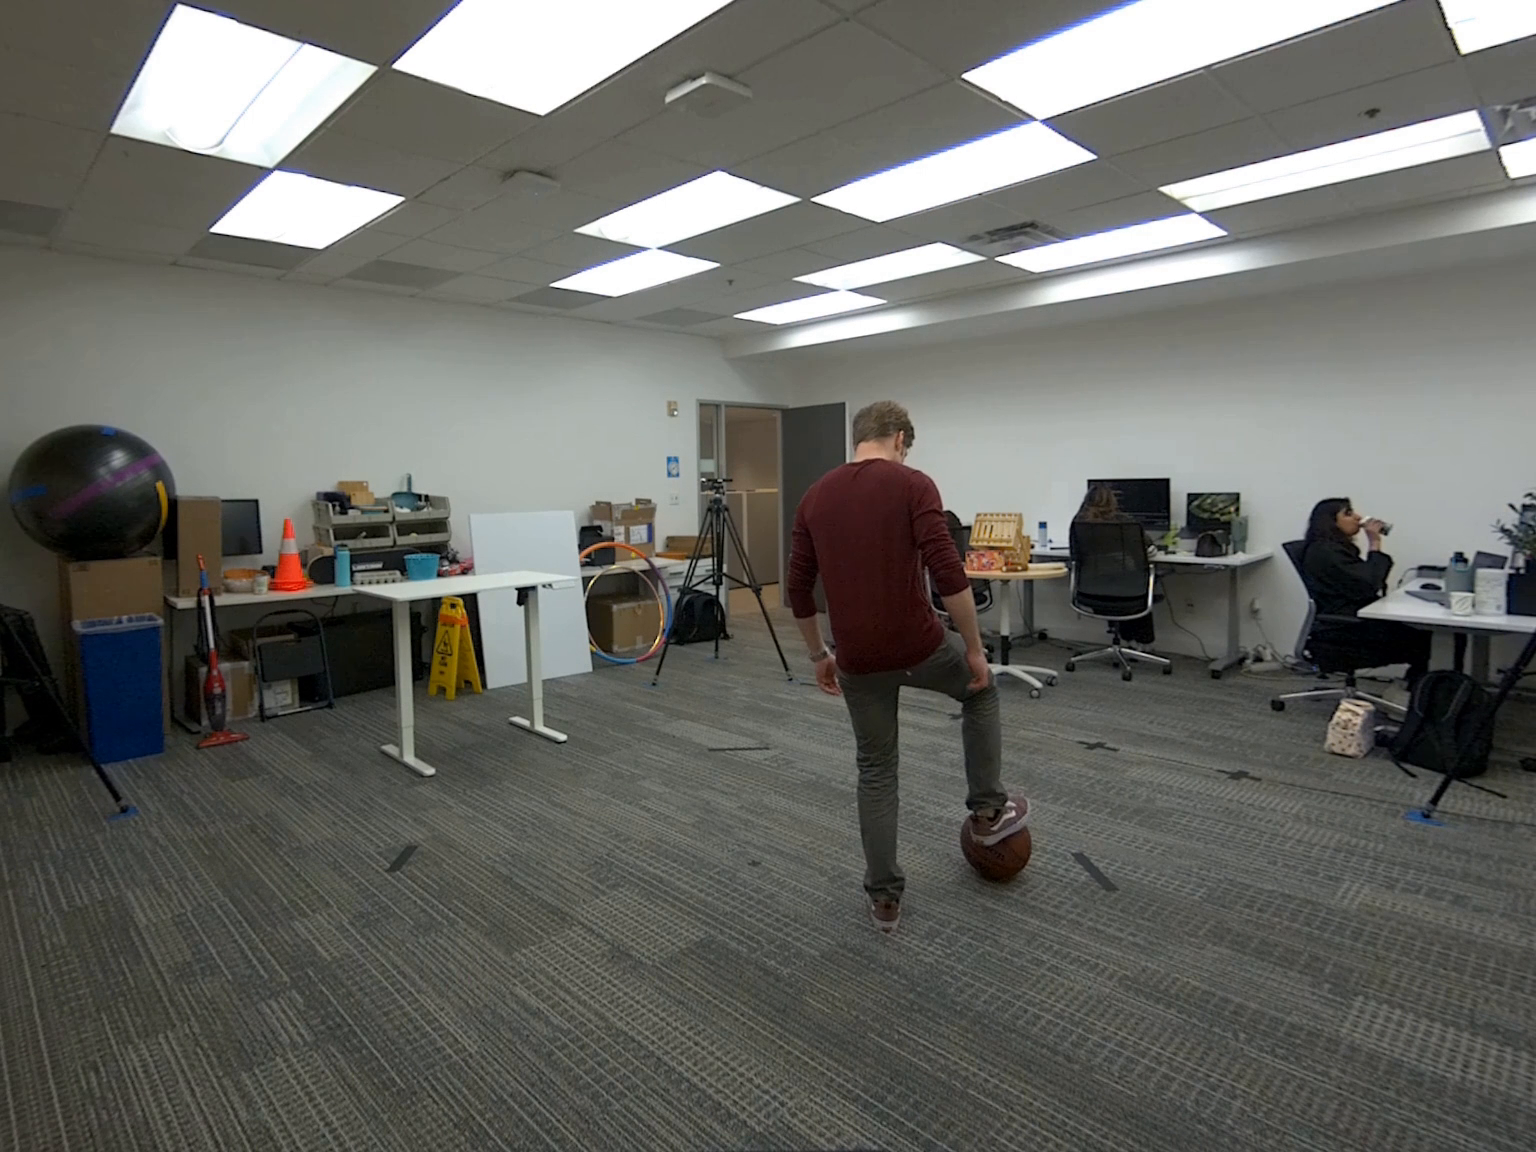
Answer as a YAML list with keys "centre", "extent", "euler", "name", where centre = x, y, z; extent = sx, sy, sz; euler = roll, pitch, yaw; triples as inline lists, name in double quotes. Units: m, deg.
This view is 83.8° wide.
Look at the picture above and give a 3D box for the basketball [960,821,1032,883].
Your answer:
- centre: [0.800, 0.926, 2.985]
  extent: [0.236, 0.235, 0.237]
  euler: [-1, 5, -2]
  name: "basketball"
